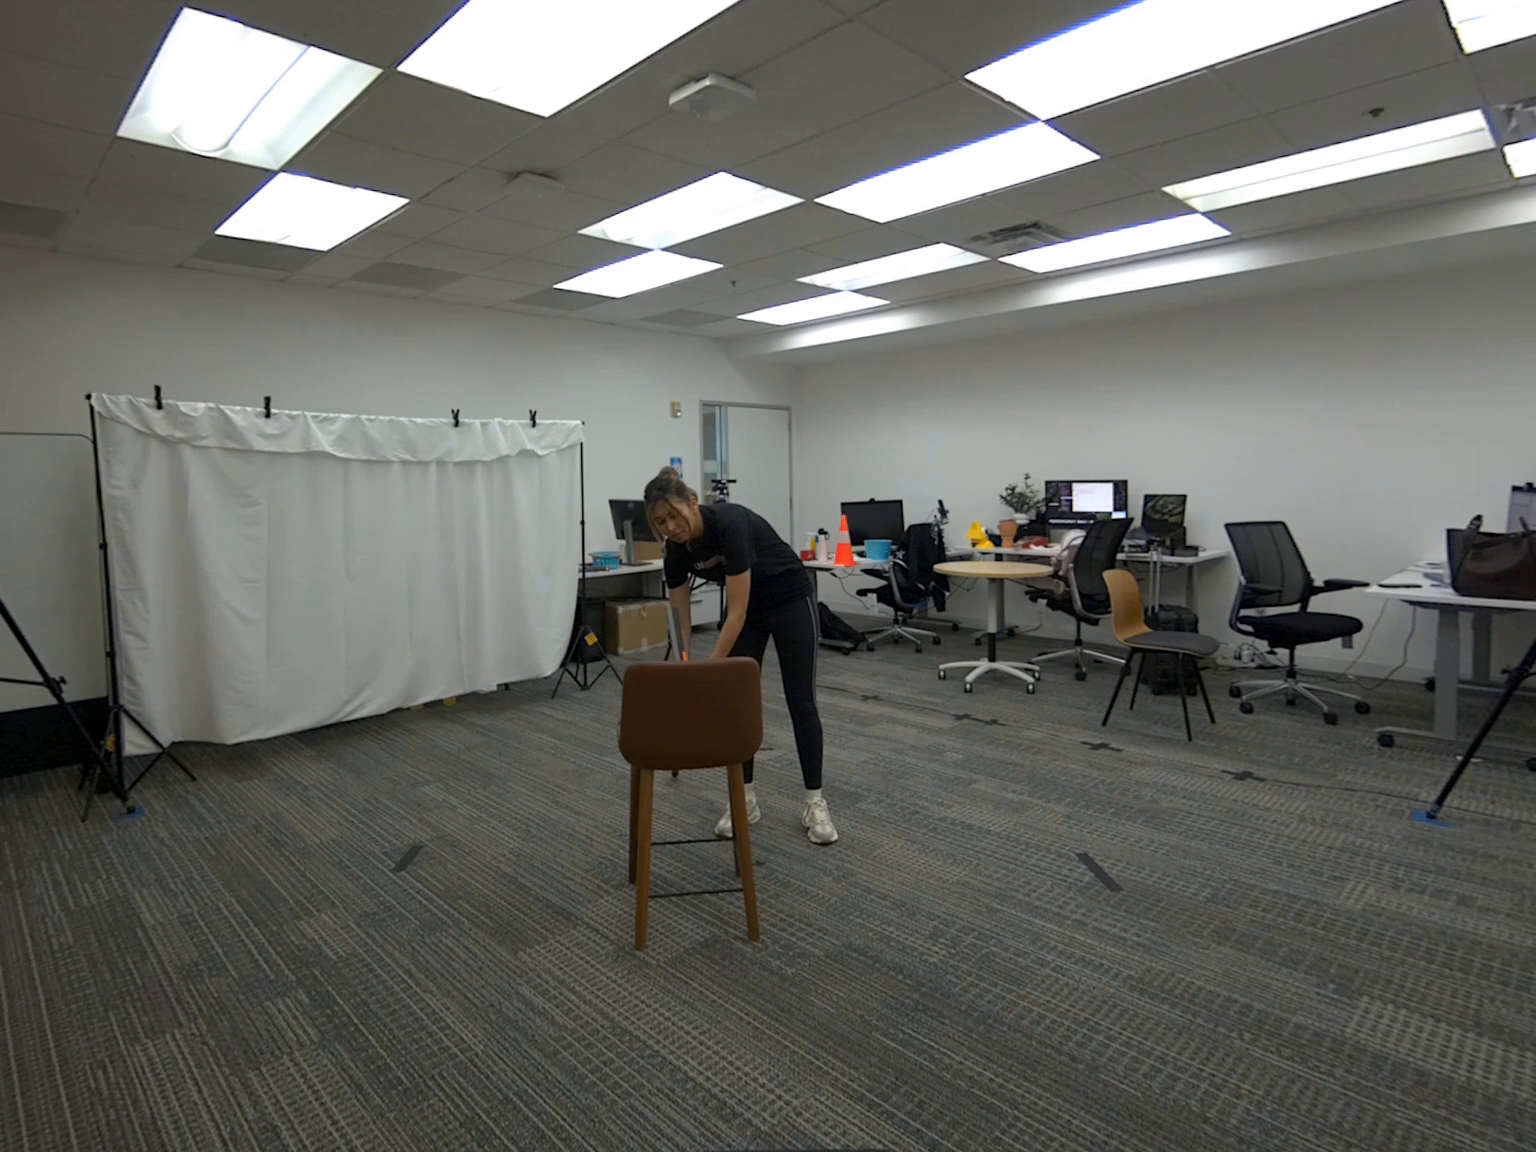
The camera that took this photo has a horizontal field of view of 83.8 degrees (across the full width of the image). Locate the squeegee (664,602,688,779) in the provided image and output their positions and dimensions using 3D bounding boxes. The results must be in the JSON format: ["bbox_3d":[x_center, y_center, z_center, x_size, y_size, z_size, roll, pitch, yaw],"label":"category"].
[{"bbox_3d":[-0.361,0.613,3.382,0.053,0.444,1.512,14,-26,-1],"label":"squeegee"}]
